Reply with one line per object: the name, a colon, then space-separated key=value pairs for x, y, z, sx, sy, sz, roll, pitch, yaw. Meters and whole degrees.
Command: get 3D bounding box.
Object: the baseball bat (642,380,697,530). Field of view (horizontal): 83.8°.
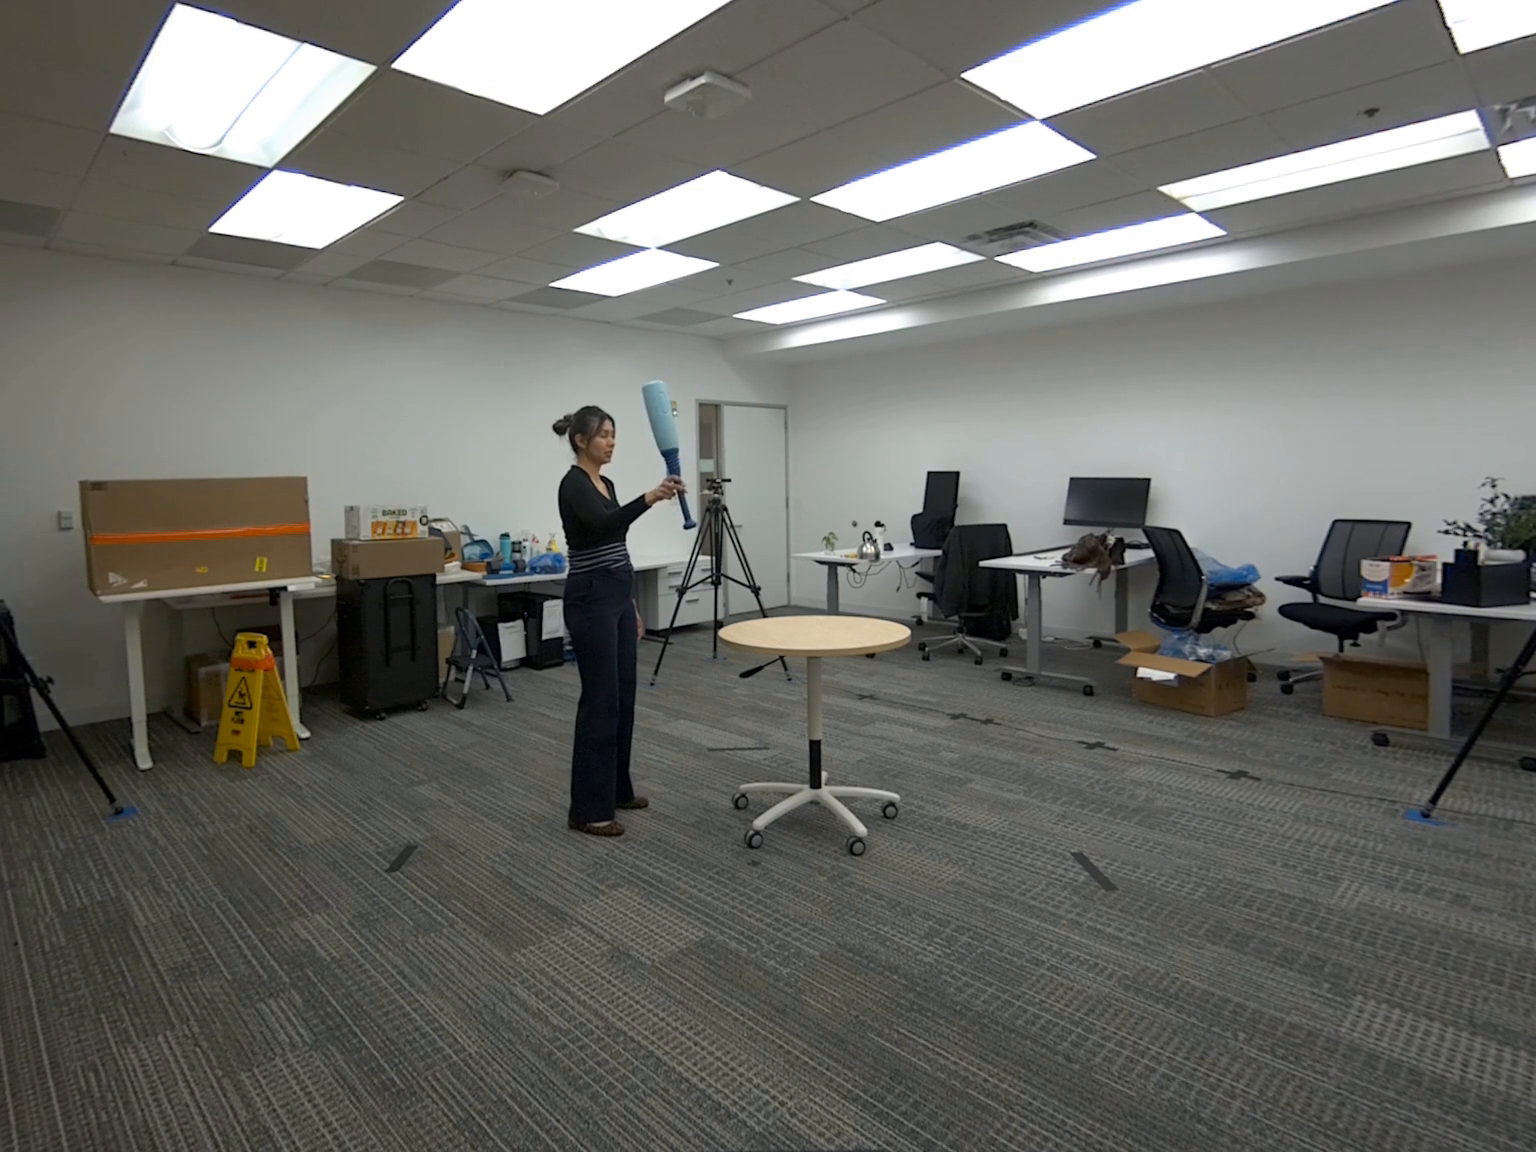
baseball bat: x=-0.343 y=-0.428 z=3.072 sx=0.089 sy=0.543 sz=0.089 roll=-14 pitch=0 yaw=-1
